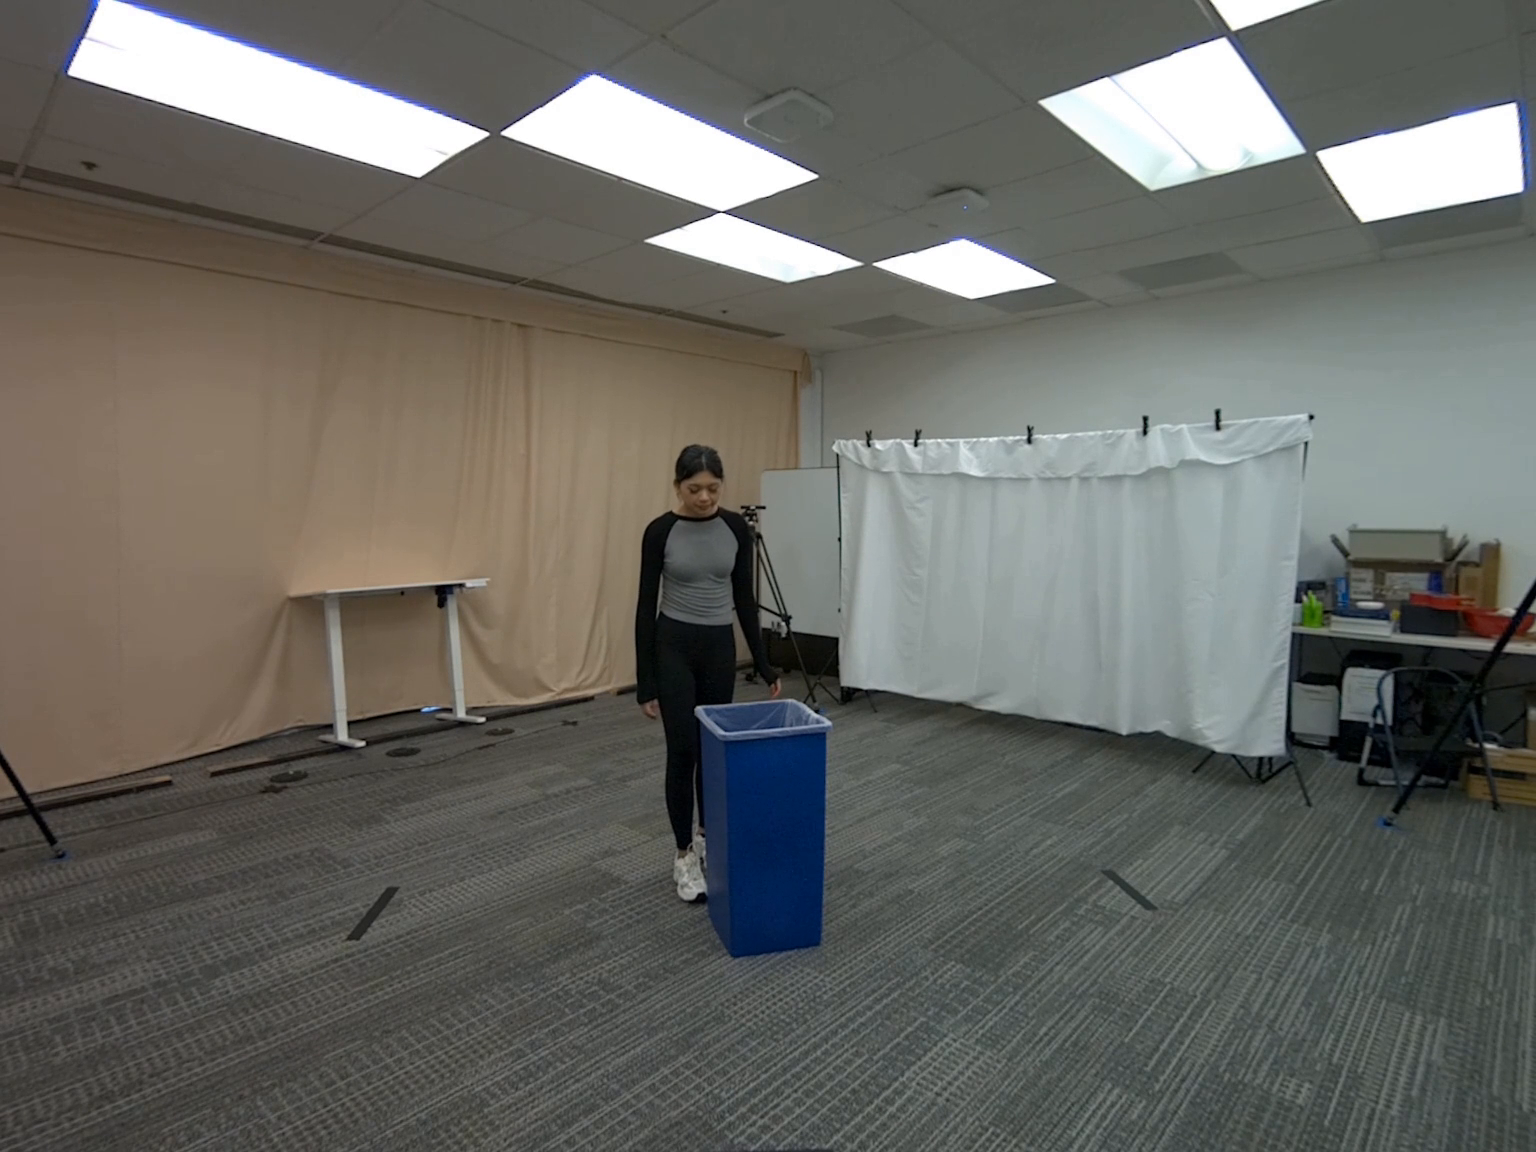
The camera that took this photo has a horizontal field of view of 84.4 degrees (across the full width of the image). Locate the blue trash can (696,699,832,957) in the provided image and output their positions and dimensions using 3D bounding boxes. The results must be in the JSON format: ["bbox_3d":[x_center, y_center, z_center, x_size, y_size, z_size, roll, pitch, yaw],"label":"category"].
[{"bbox_3d":[-0.017,0.806,2.747,0.368,0.712,0.385,-1,3,-17],"label":"blue trash can"}]
